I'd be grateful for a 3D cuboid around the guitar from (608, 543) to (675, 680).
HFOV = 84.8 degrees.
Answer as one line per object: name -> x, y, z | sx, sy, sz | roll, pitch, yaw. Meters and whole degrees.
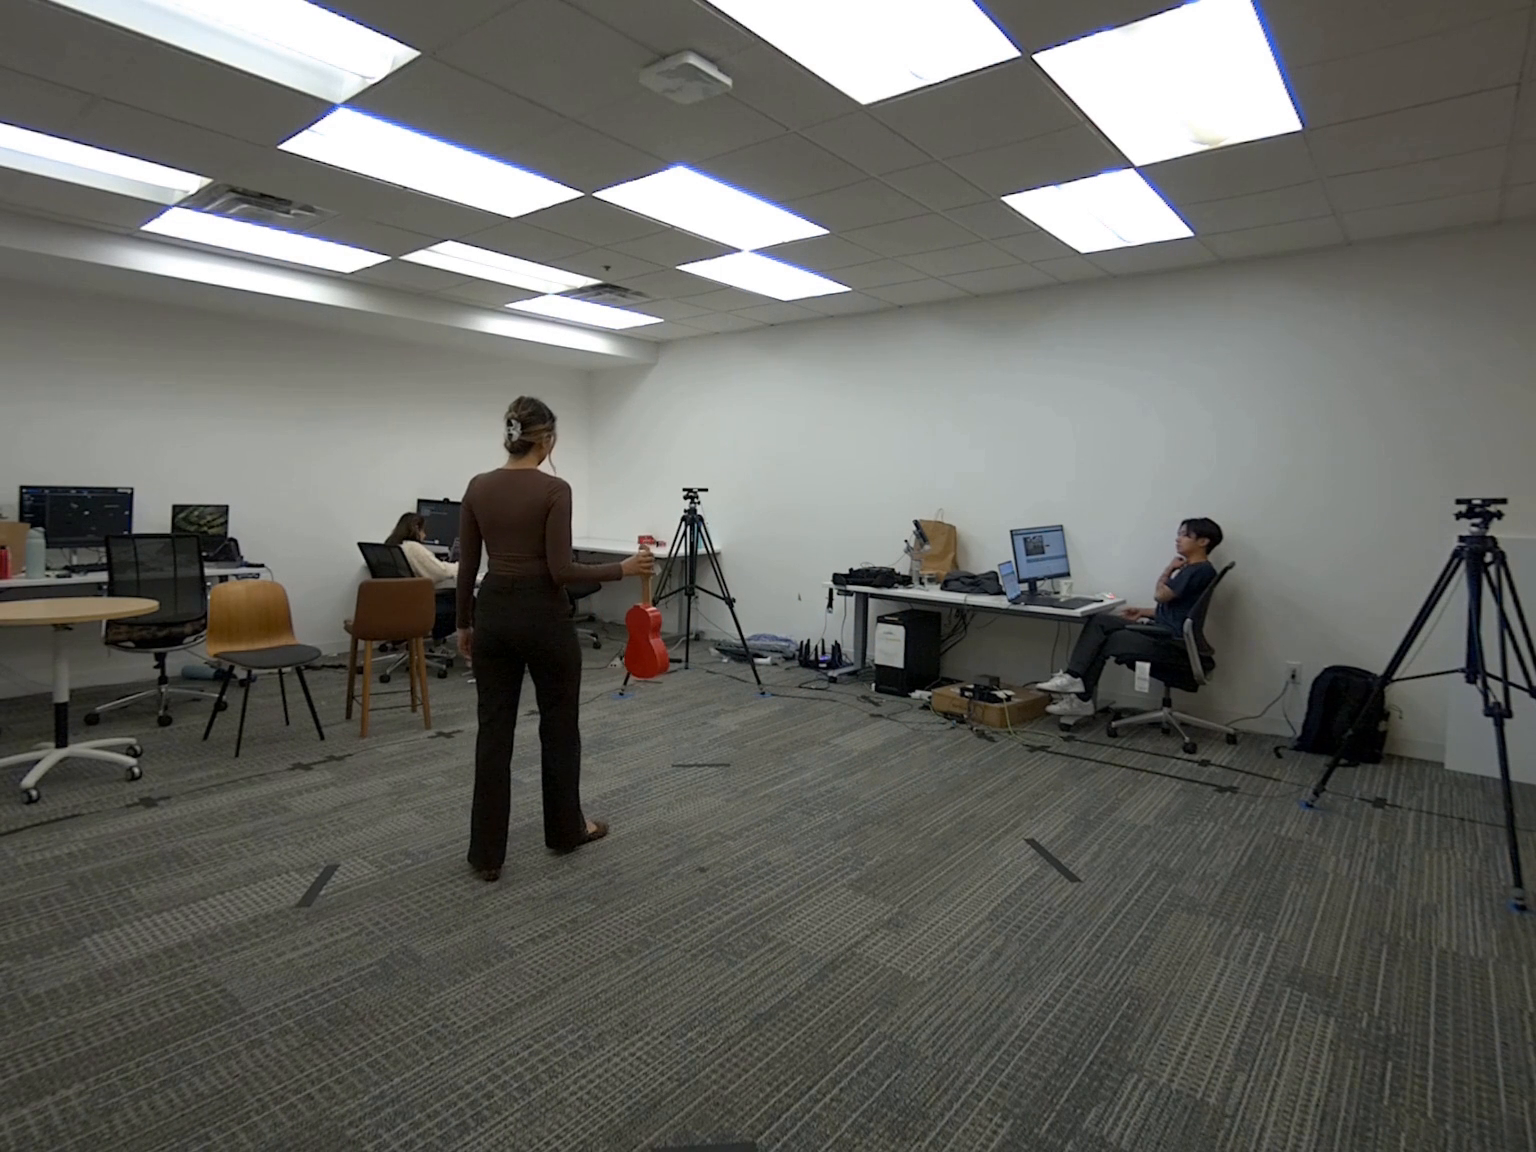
guitar -> -0.492, 0.136, 3.235 | 0.197, 0.501, 0.068 | -15, -8, 42
